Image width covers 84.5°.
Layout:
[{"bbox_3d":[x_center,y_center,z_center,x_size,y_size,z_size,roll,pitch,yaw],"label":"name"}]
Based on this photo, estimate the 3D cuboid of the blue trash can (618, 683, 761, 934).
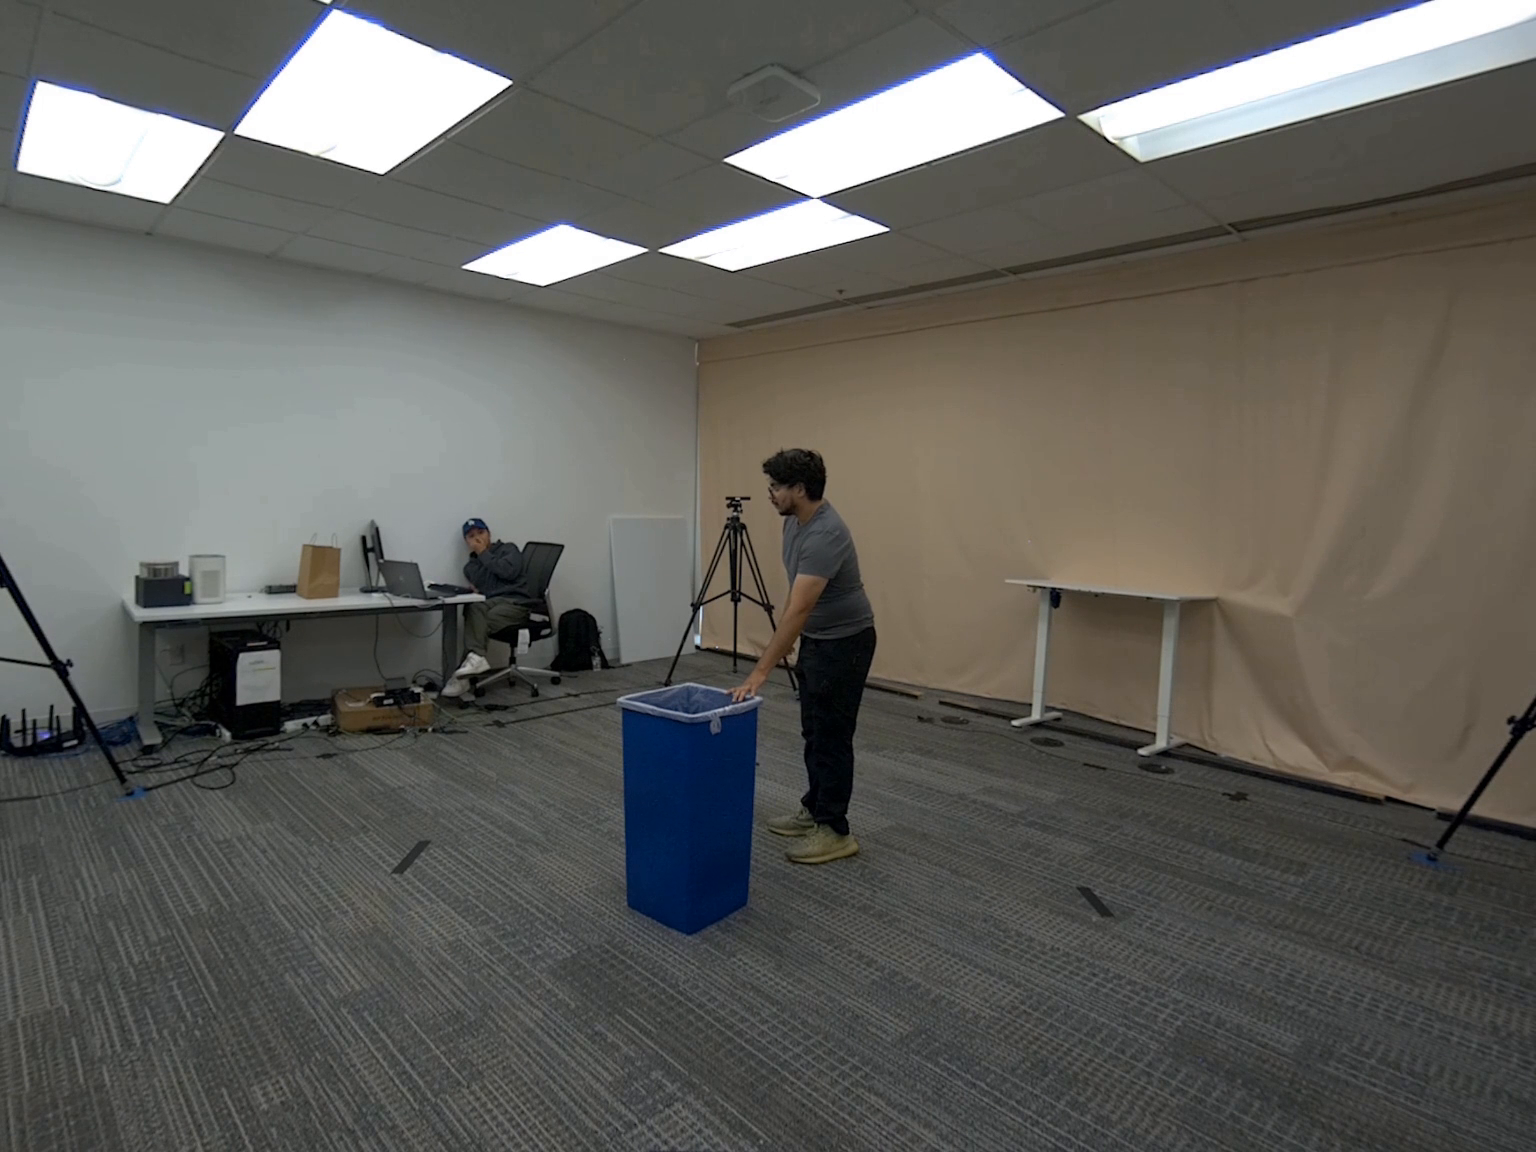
[{"bbox_3d":[-0.281,0.768,2.862,0.383,0.712,0.369,4,4,39],"label":"blue trash can"}]
